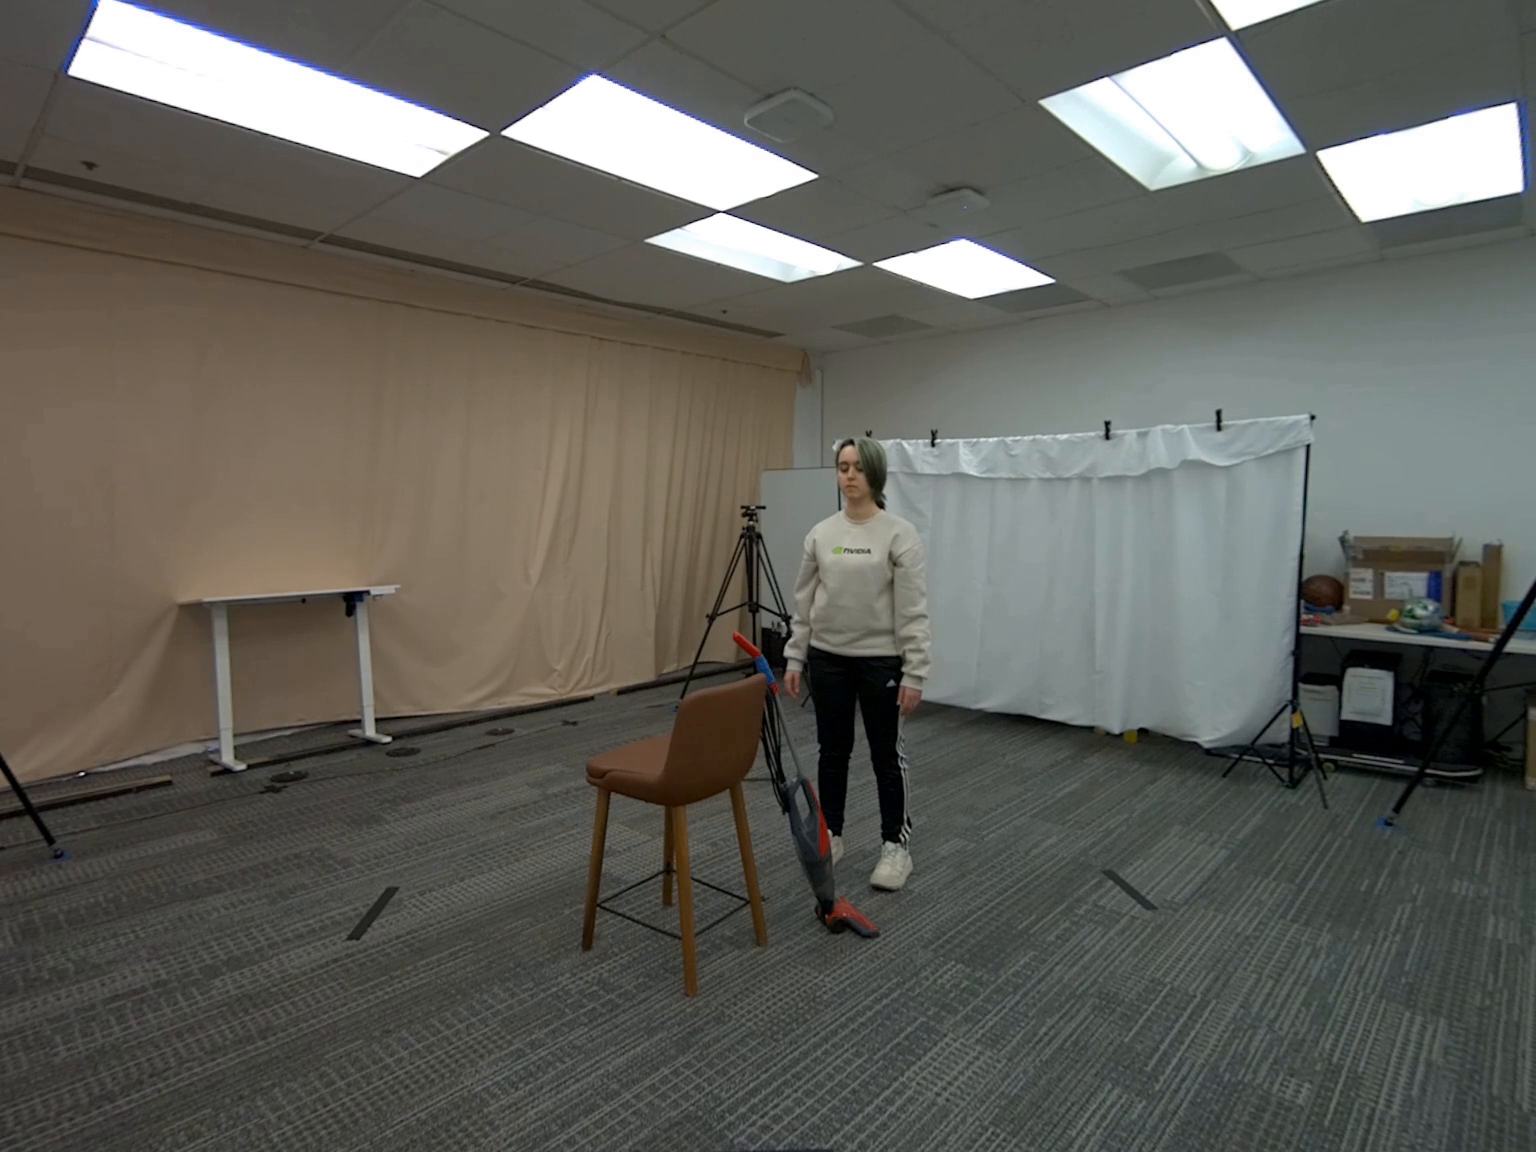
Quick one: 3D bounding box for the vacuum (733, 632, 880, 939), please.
[{"bbox_3d":[0.090,0.671,2.737,0.142,1.041,0.258,-22,9,-21],"label":"vacuum"}]
